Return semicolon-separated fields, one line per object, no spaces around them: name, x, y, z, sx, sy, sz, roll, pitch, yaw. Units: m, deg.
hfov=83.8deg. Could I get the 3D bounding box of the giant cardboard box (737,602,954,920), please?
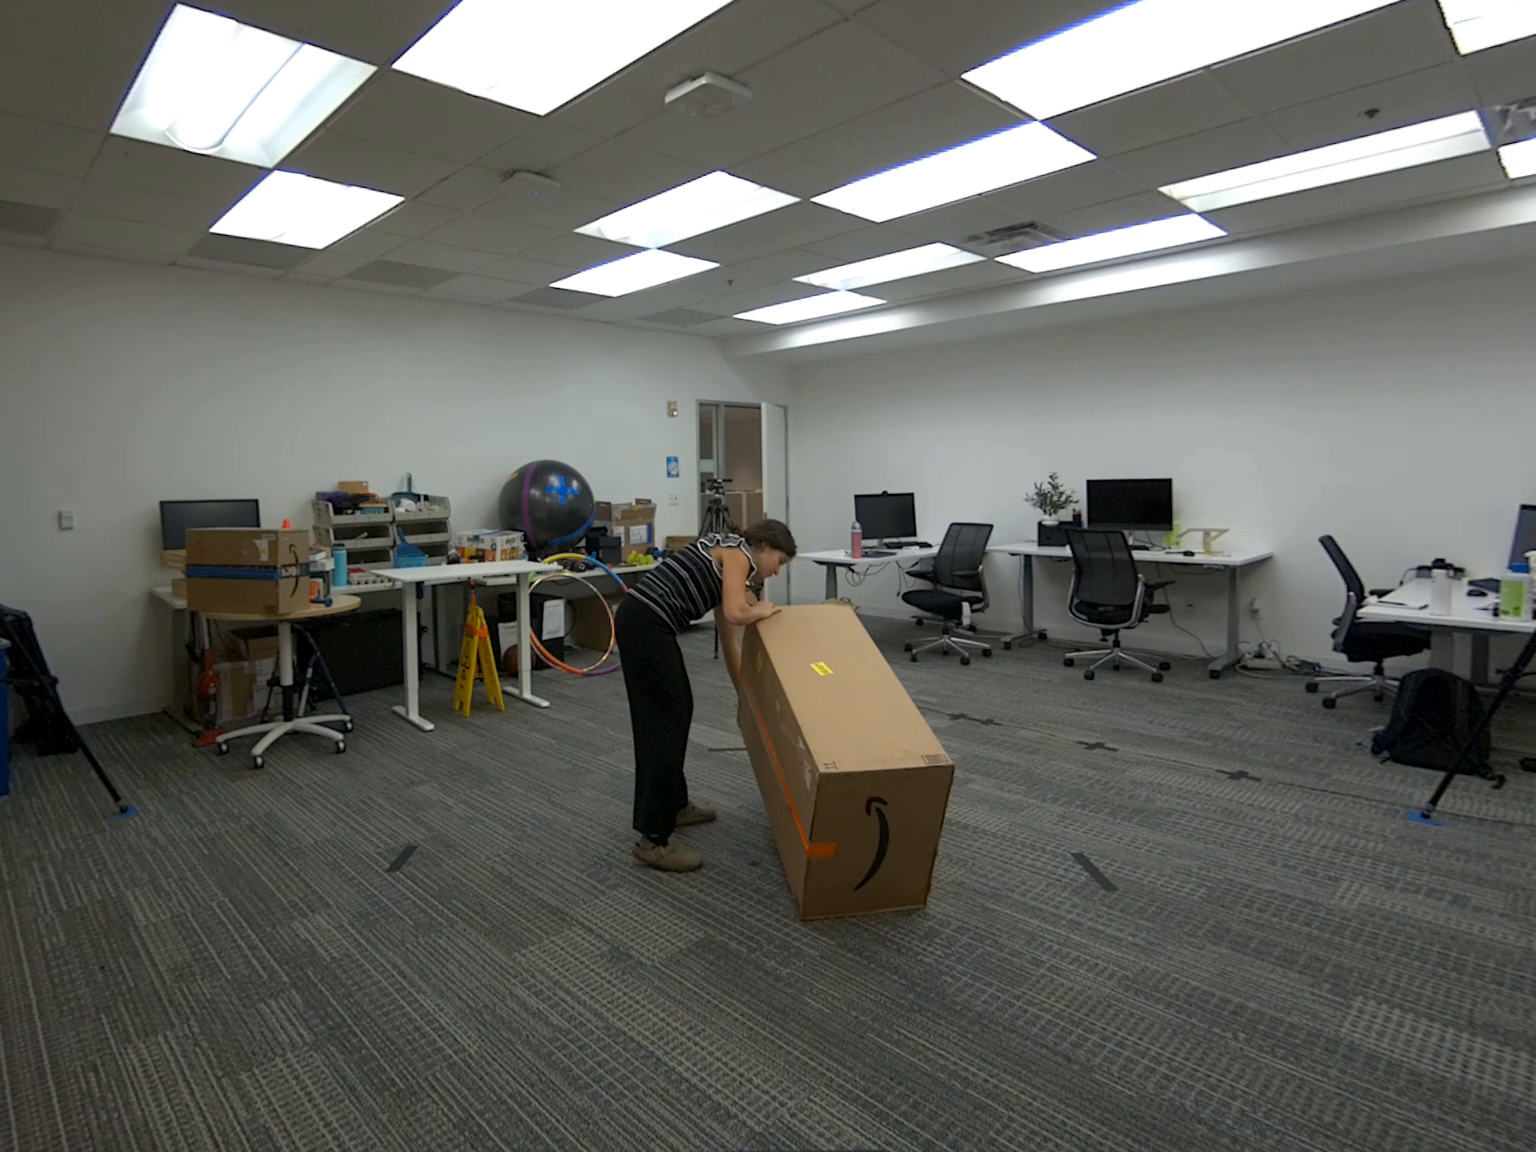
giant cardboard box;0.214;0.598;3.075;0.421;0.567;1.057;-1;25;-14
